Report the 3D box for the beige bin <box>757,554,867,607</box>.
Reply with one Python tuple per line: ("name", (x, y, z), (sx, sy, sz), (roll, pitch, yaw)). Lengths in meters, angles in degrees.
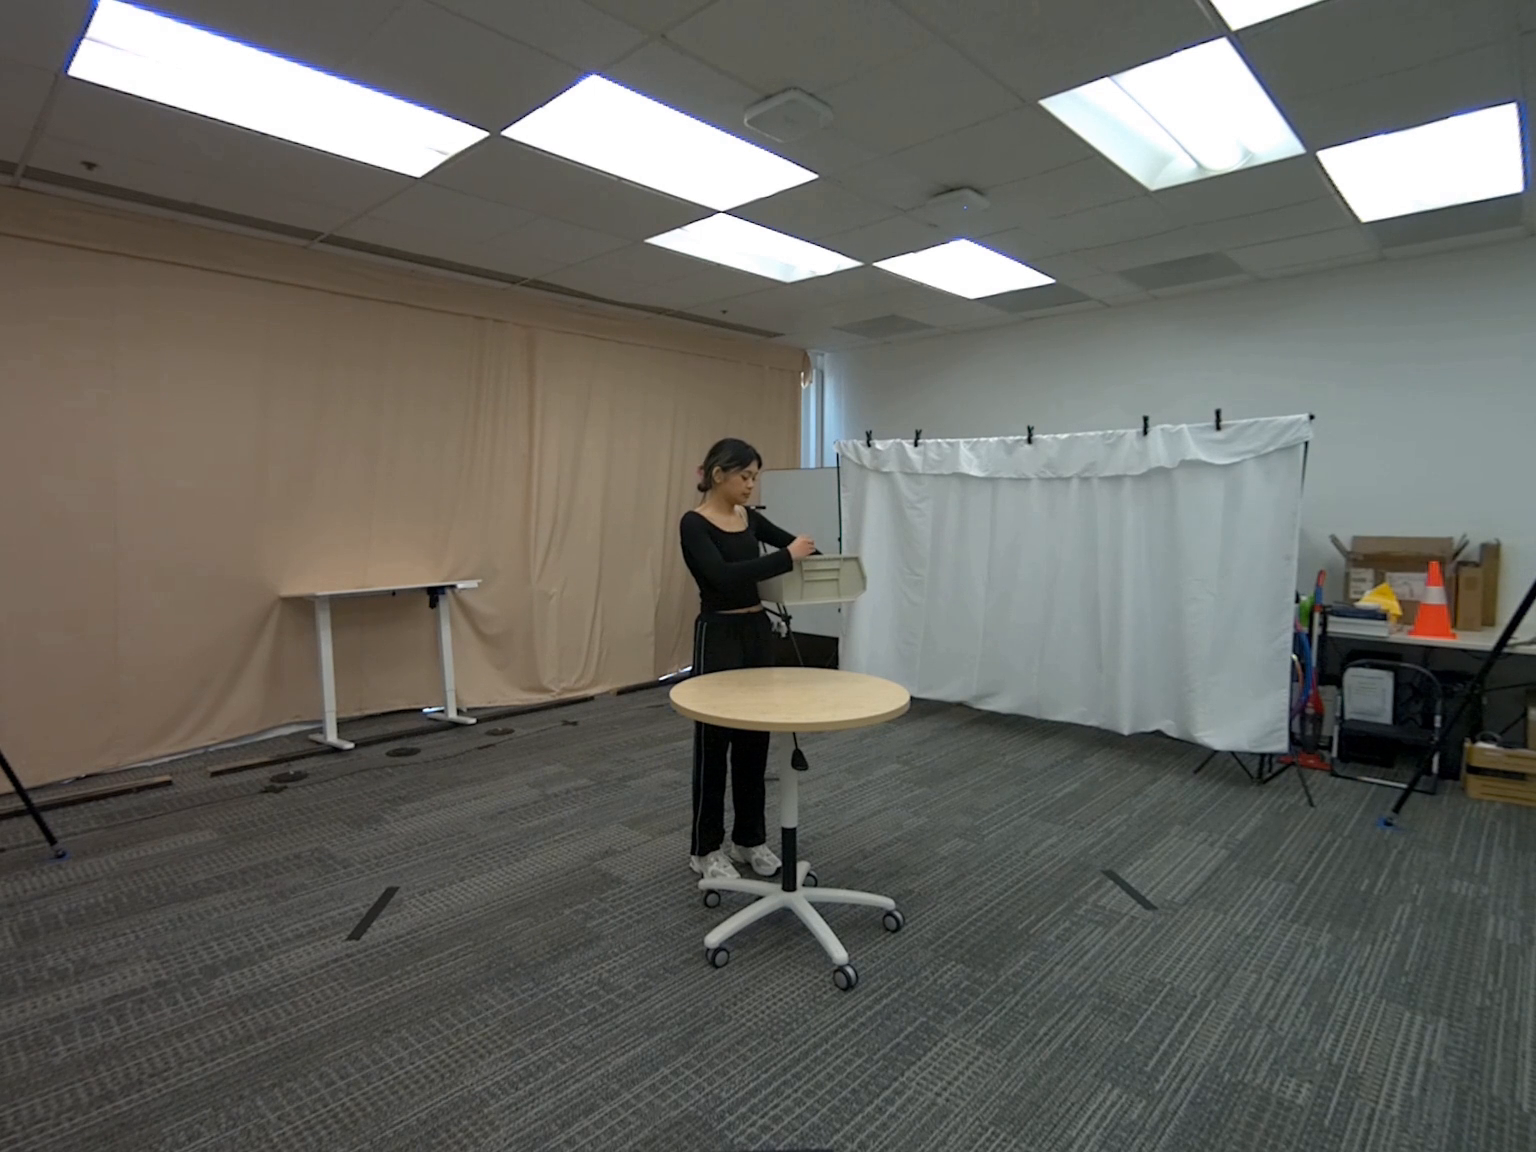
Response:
("beige bin", (0.122, 0.002, 3.313), (0.368, 0.188, 0.434), (-3, 5, -27))
